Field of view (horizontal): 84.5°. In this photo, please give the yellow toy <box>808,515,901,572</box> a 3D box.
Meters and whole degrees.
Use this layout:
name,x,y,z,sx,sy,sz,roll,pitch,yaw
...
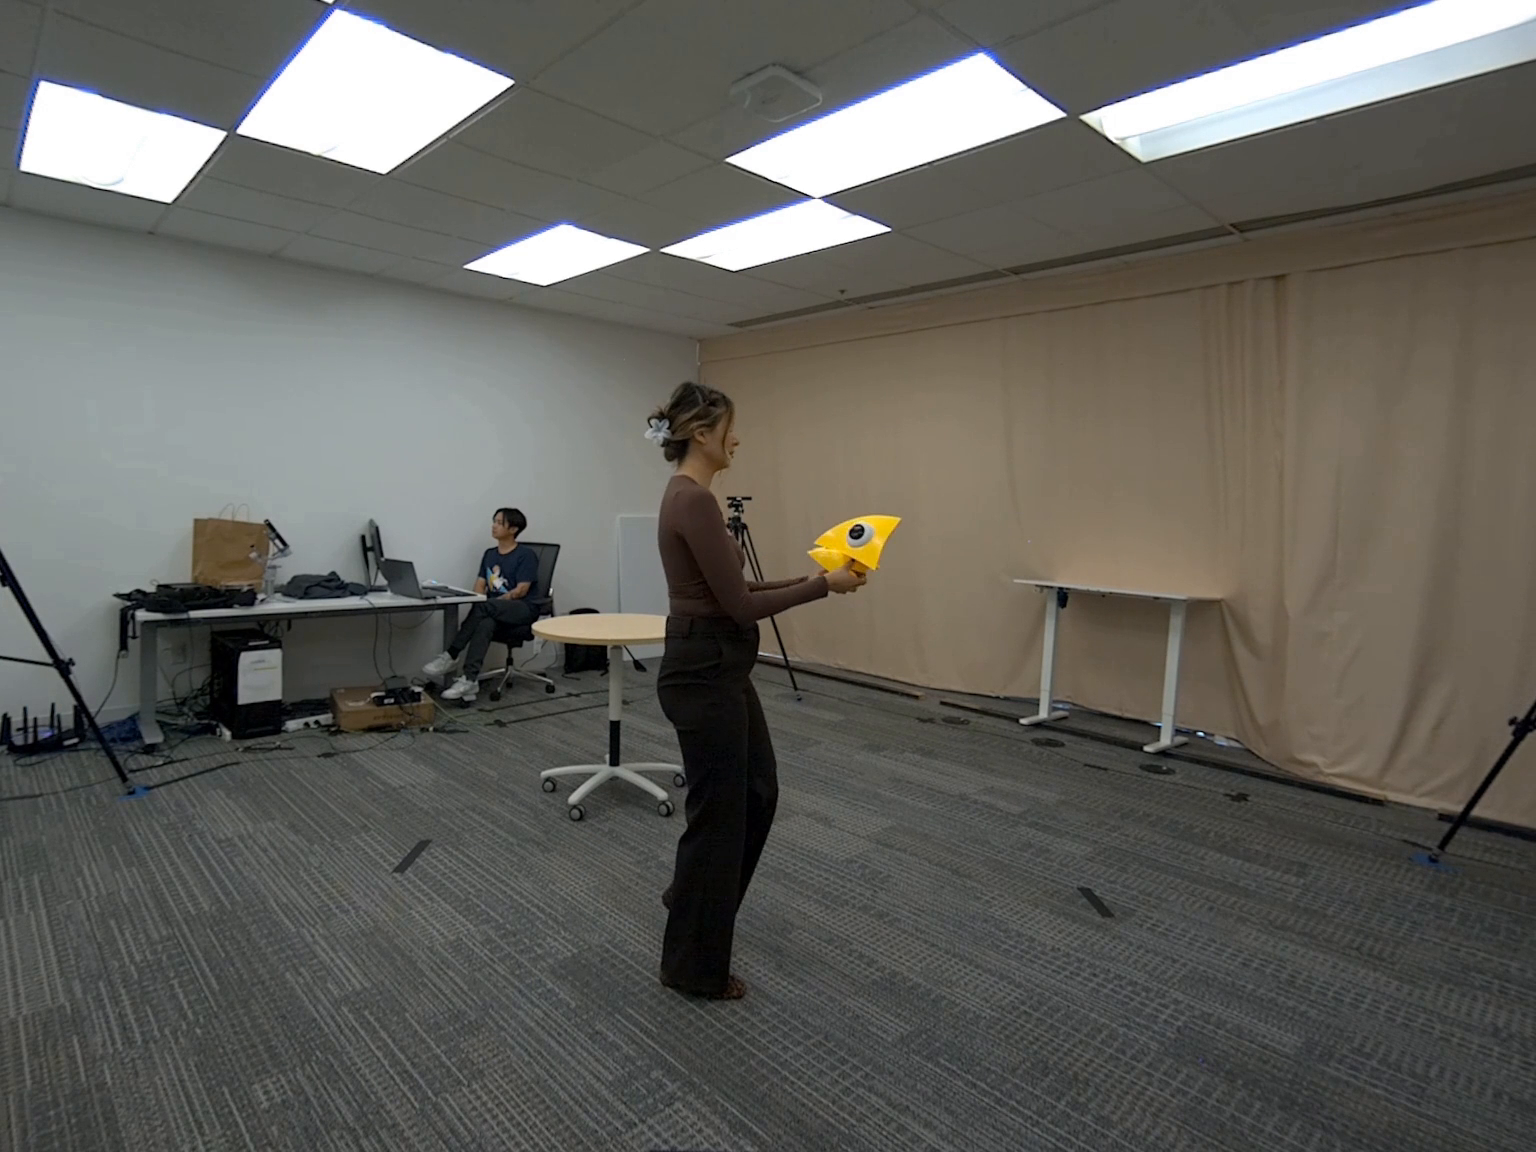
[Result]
name,x,y,z,sx,sy,sz,roll,pitch,yaw
yellow toy,0.255,-0.108,2.402,0.195,0.230,0.203,37,12,8
